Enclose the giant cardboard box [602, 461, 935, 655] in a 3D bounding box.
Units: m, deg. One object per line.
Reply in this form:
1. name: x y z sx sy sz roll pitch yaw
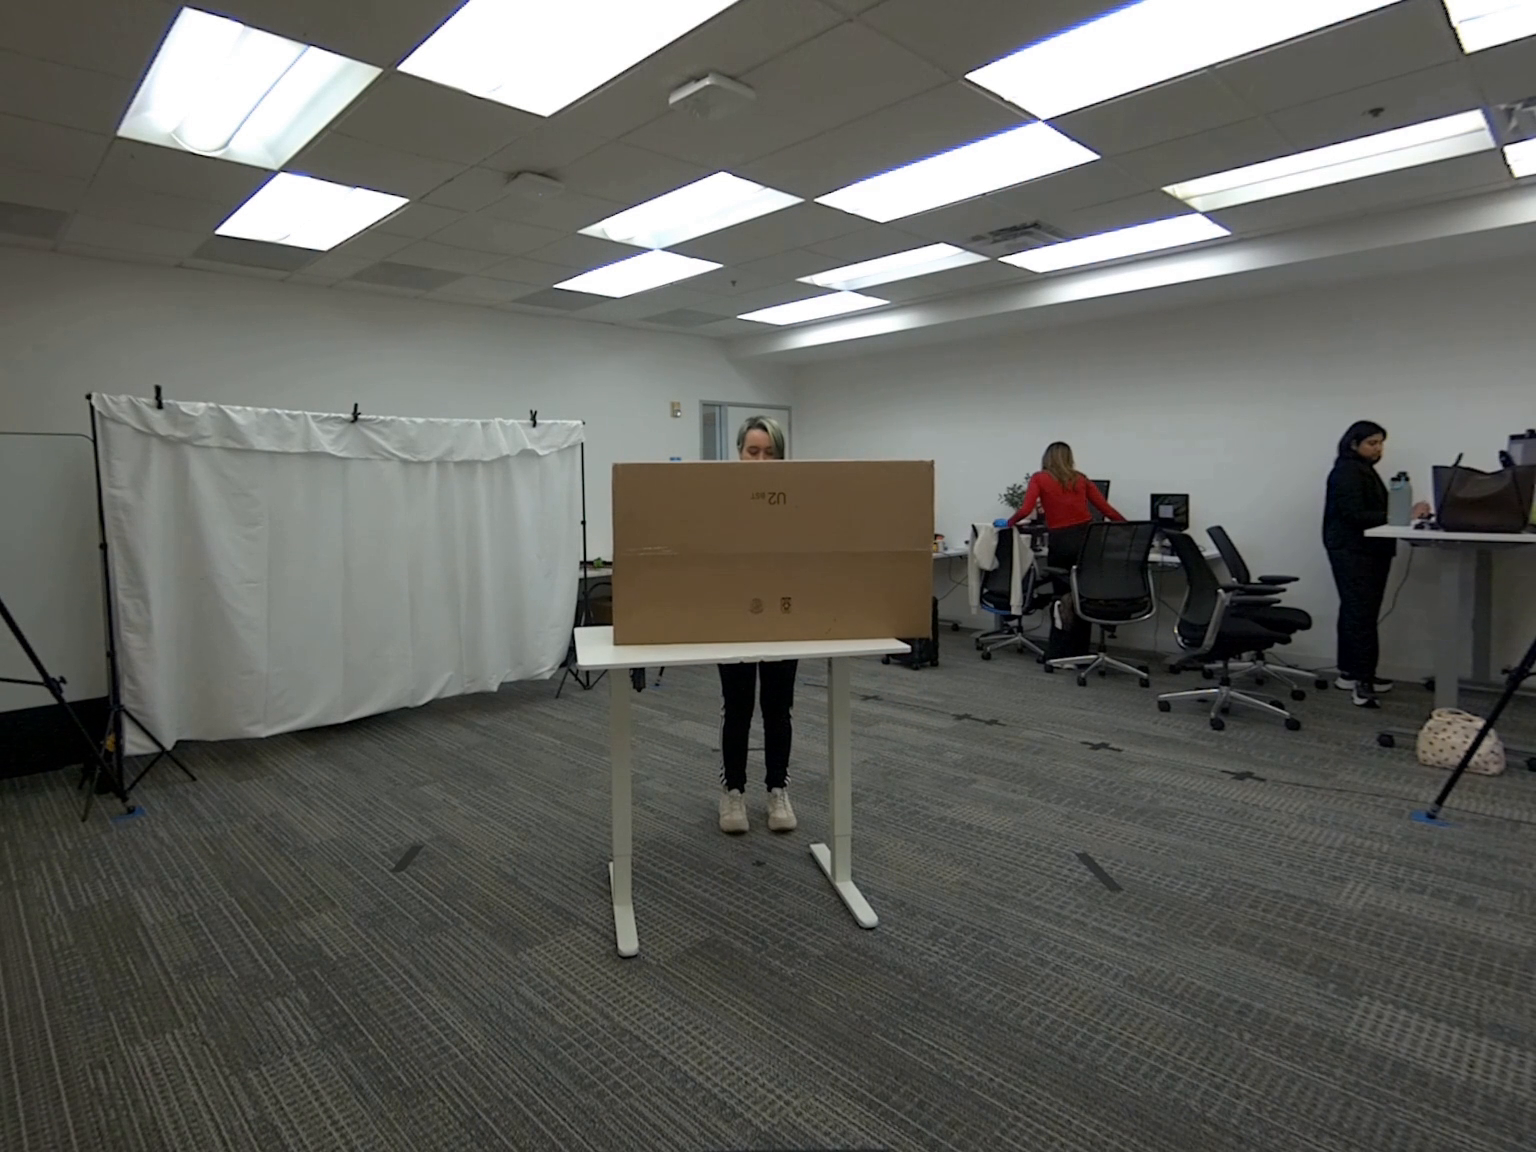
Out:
1. giant cardboard box: -0.003 -0.104 2.901 1.022 0.581 0.451 0 5 -5
